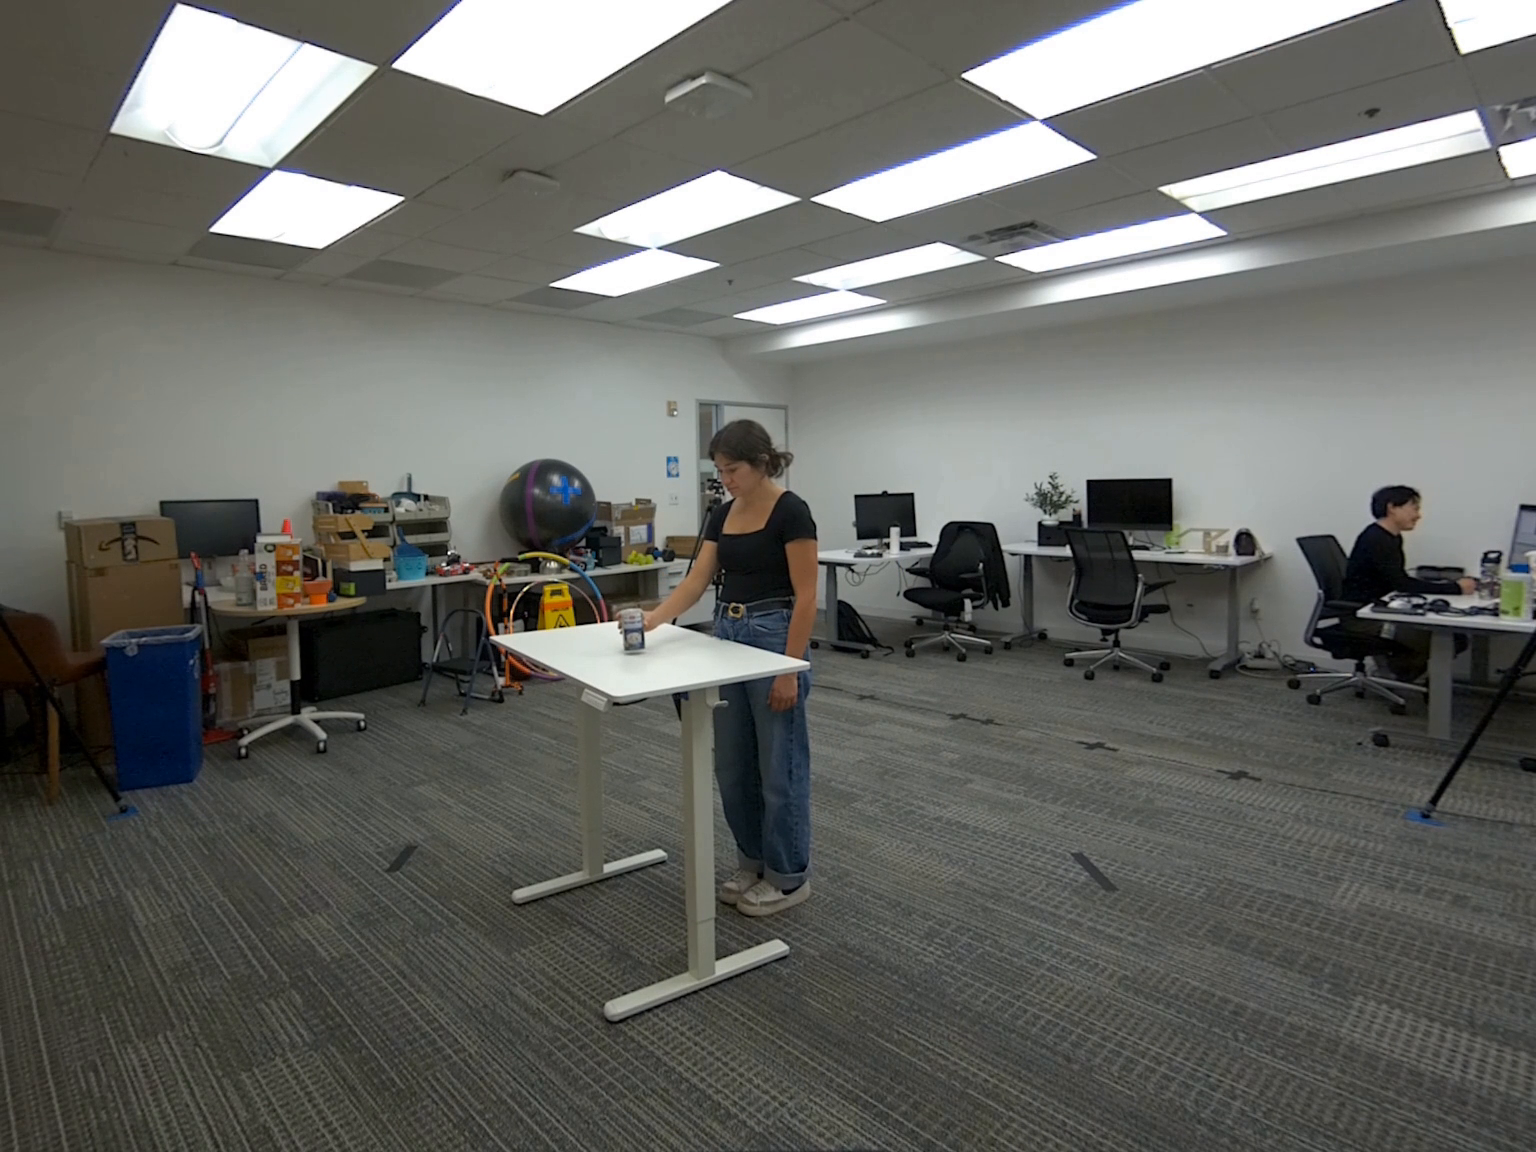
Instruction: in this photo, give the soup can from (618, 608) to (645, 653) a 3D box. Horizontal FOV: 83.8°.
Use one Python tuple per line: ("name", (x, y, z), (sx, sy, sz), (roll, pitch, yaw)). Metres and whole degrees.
("soup can", (-0.405, 0.164, 2.560), (0.067, 0.121, 0.067), (-3, 3, -1))
